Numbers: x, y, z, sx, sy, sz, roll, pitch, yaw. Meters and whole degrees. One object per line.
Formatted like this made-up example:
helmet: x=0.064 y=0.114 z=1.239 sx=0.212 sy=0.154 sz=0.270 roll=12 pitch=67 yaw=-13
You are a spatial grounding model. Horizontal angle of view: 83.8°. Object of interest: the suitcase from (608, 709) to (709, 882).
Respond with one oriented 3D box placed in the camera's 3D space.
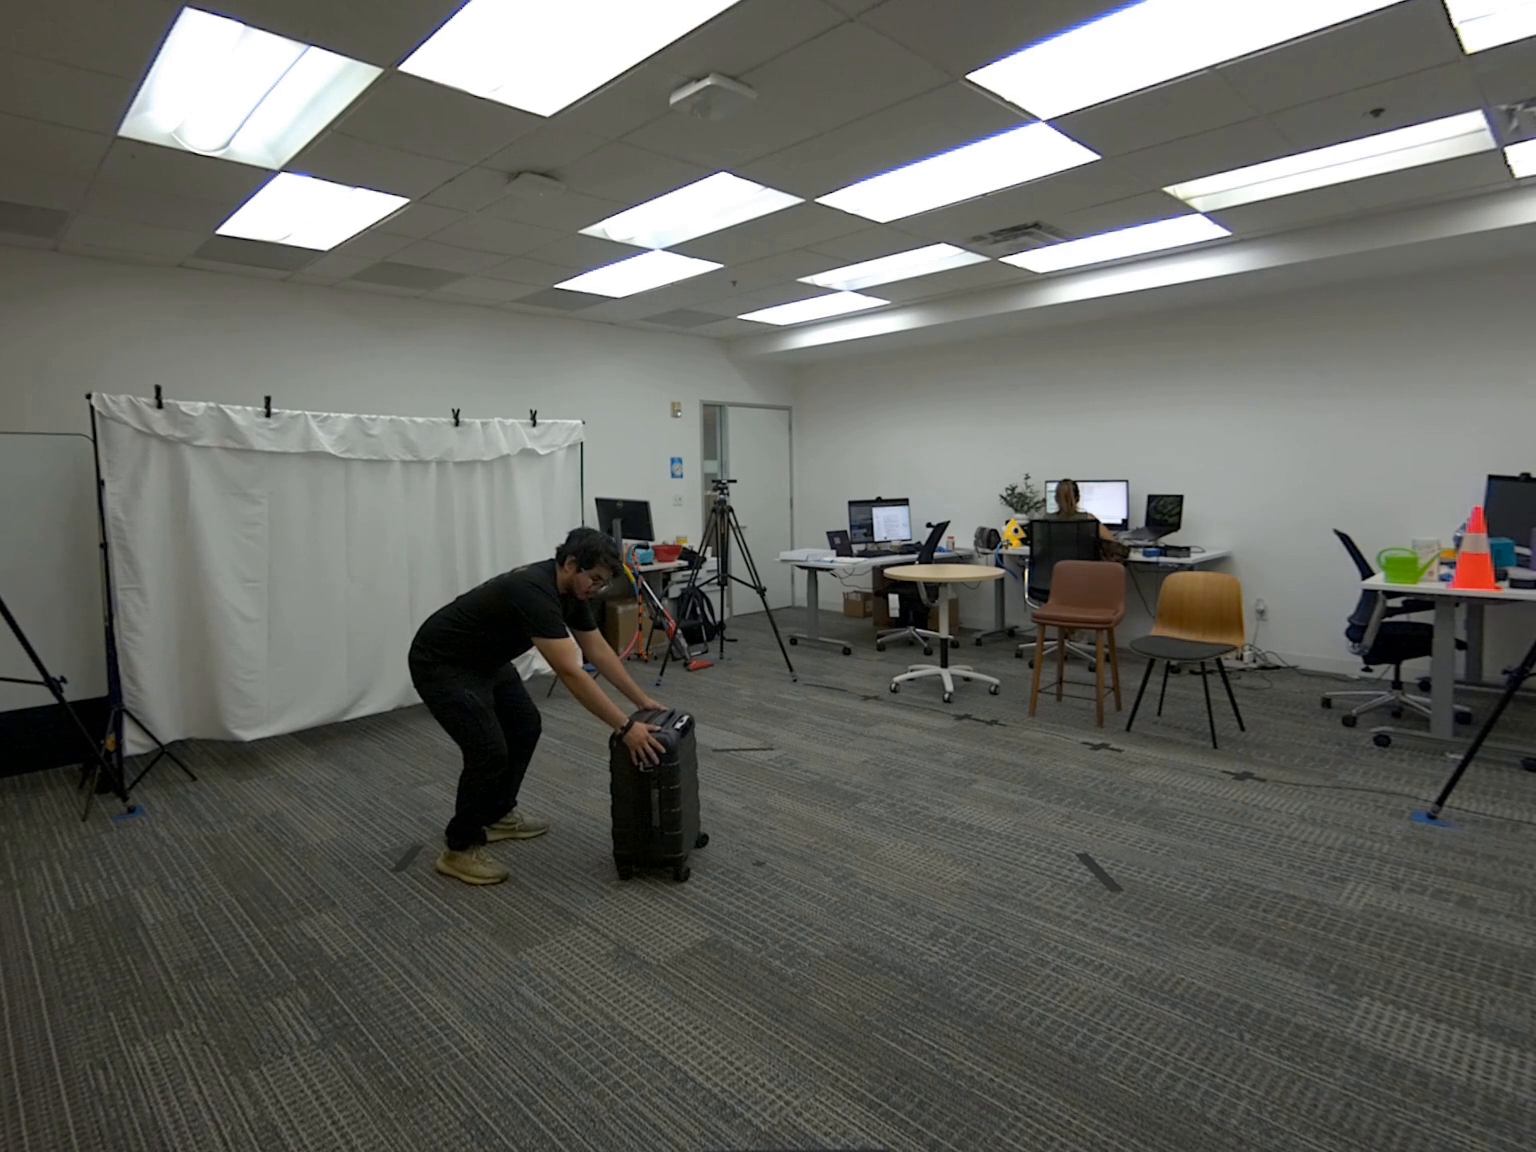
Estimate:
suitcase: x=-0.412 y=0.780 z=3.113 sx=0.251 sy=0.547 sz=0.374 roll=-1 pitch=5 yaw=8
